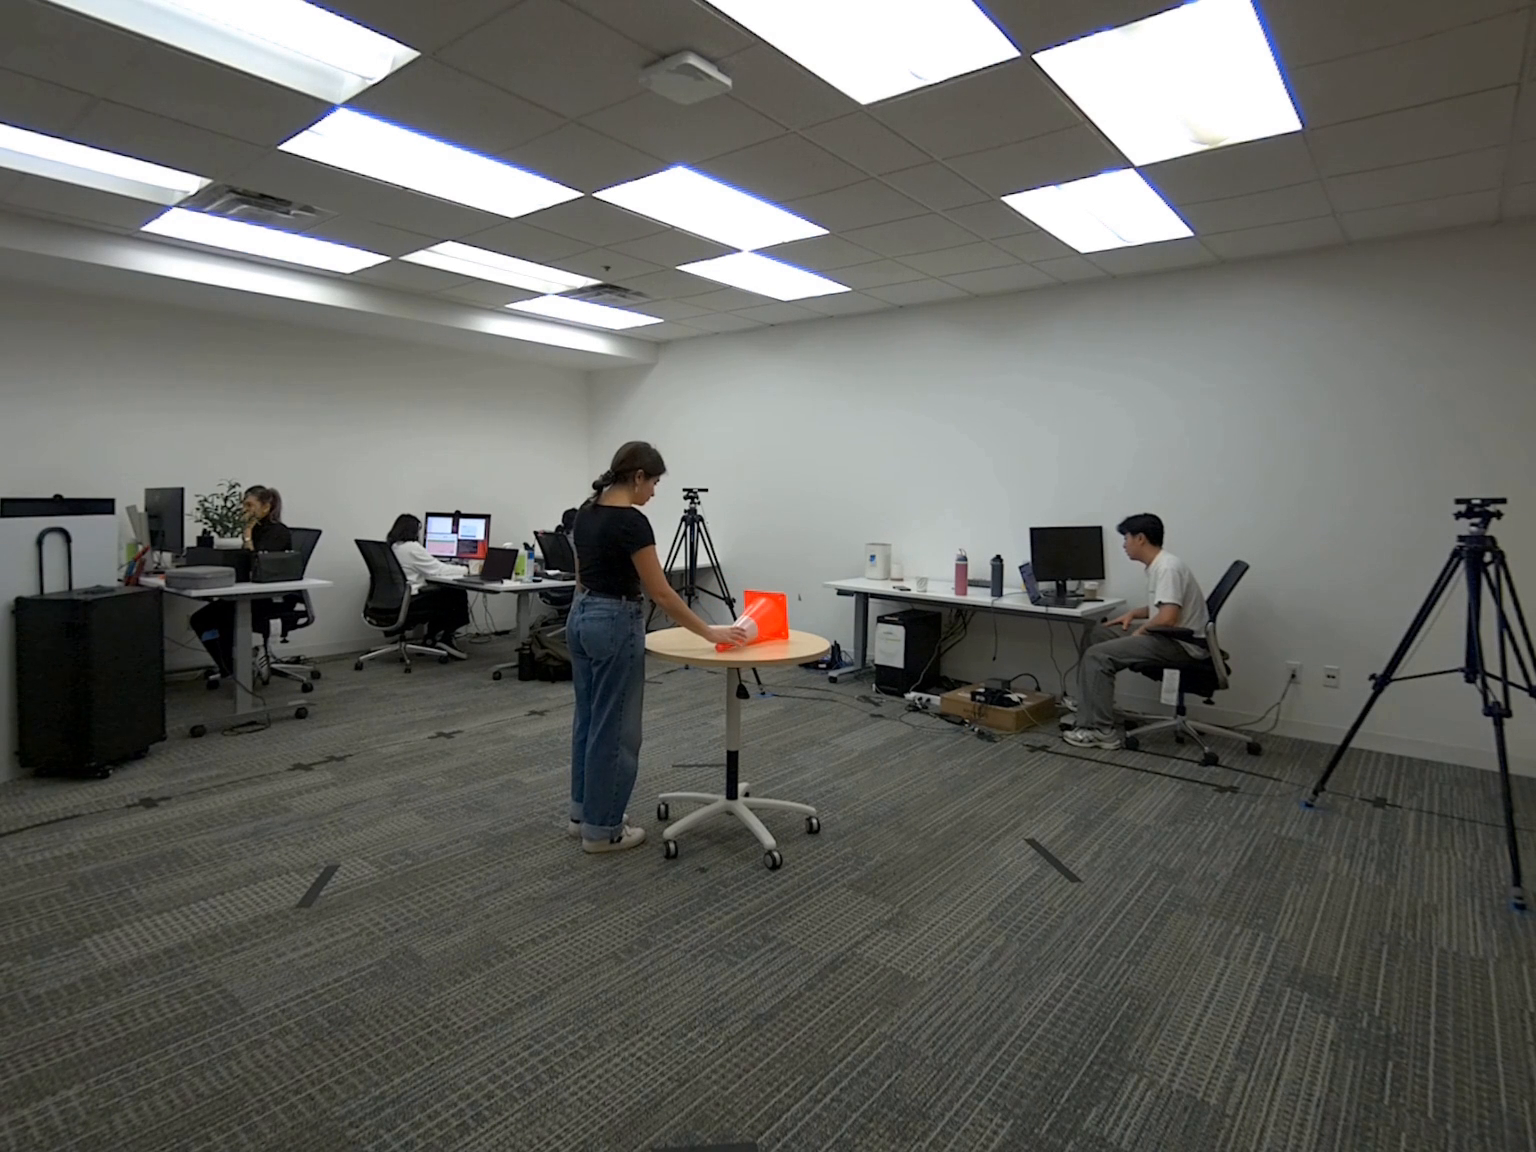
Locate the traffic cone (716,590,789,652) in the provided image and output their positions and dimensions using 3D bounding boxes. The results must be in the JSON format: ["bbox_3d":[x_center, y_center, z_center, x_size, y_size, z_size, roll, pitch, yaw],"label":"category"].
[{"bbox_3d":[-0.097,0.212,3.340,0.209,0.201,0.379,5,20,29],"label":"traffic cone"}]
